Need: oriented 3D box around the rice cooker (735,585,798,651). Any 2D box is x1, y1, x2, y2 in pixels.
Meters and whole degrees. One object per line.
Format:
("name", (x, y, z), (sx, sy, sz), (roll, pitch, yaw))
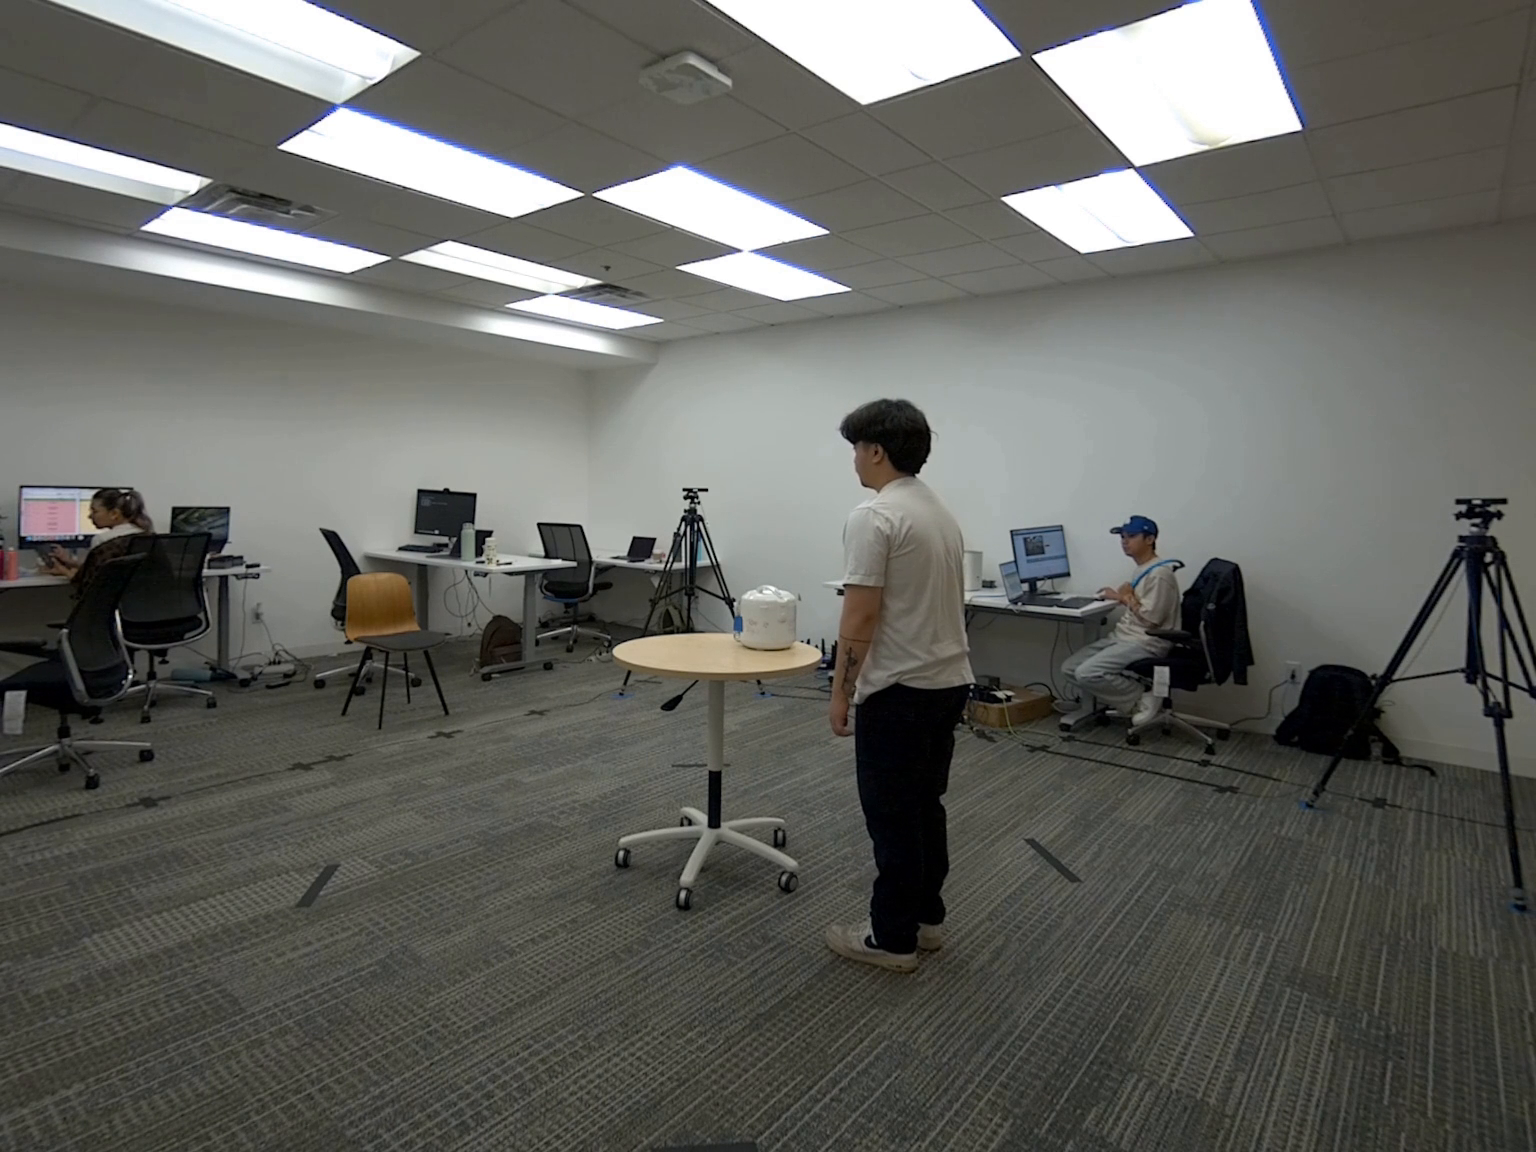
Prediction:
("rice cooker", (-0.011, 0.149, 3.219), (0.212, 0.232, 0.227), (-2, 5, -27))
